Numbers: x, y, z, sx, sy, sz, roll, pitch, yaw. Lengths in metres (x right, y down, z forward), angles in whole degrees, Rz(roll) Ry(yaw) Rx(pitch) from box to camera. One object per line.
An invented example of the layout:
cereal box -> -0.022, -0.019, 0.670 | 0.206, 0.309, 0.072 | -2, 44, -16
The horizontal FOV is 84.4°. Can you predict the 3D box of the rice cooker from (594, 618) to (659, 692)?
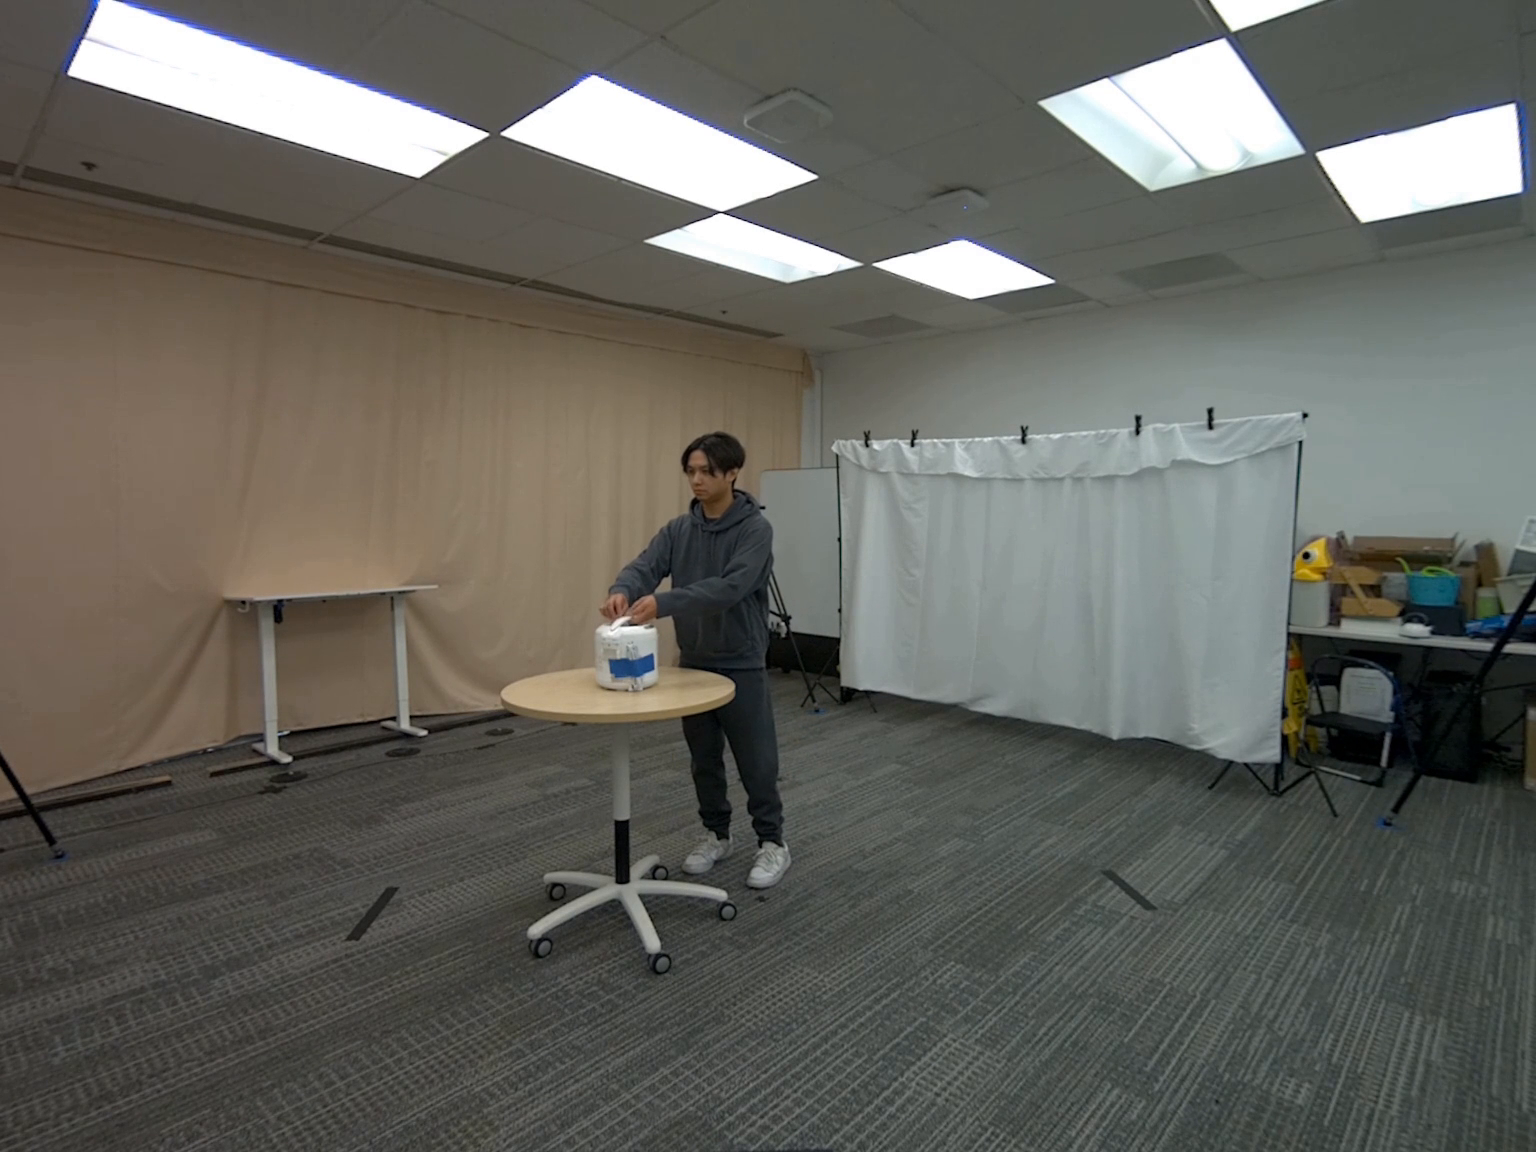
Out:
rice cooker -> -0.471, 0.251, 2.792 | 0.223, 0.232, 0.215 | 2, 3, 23
